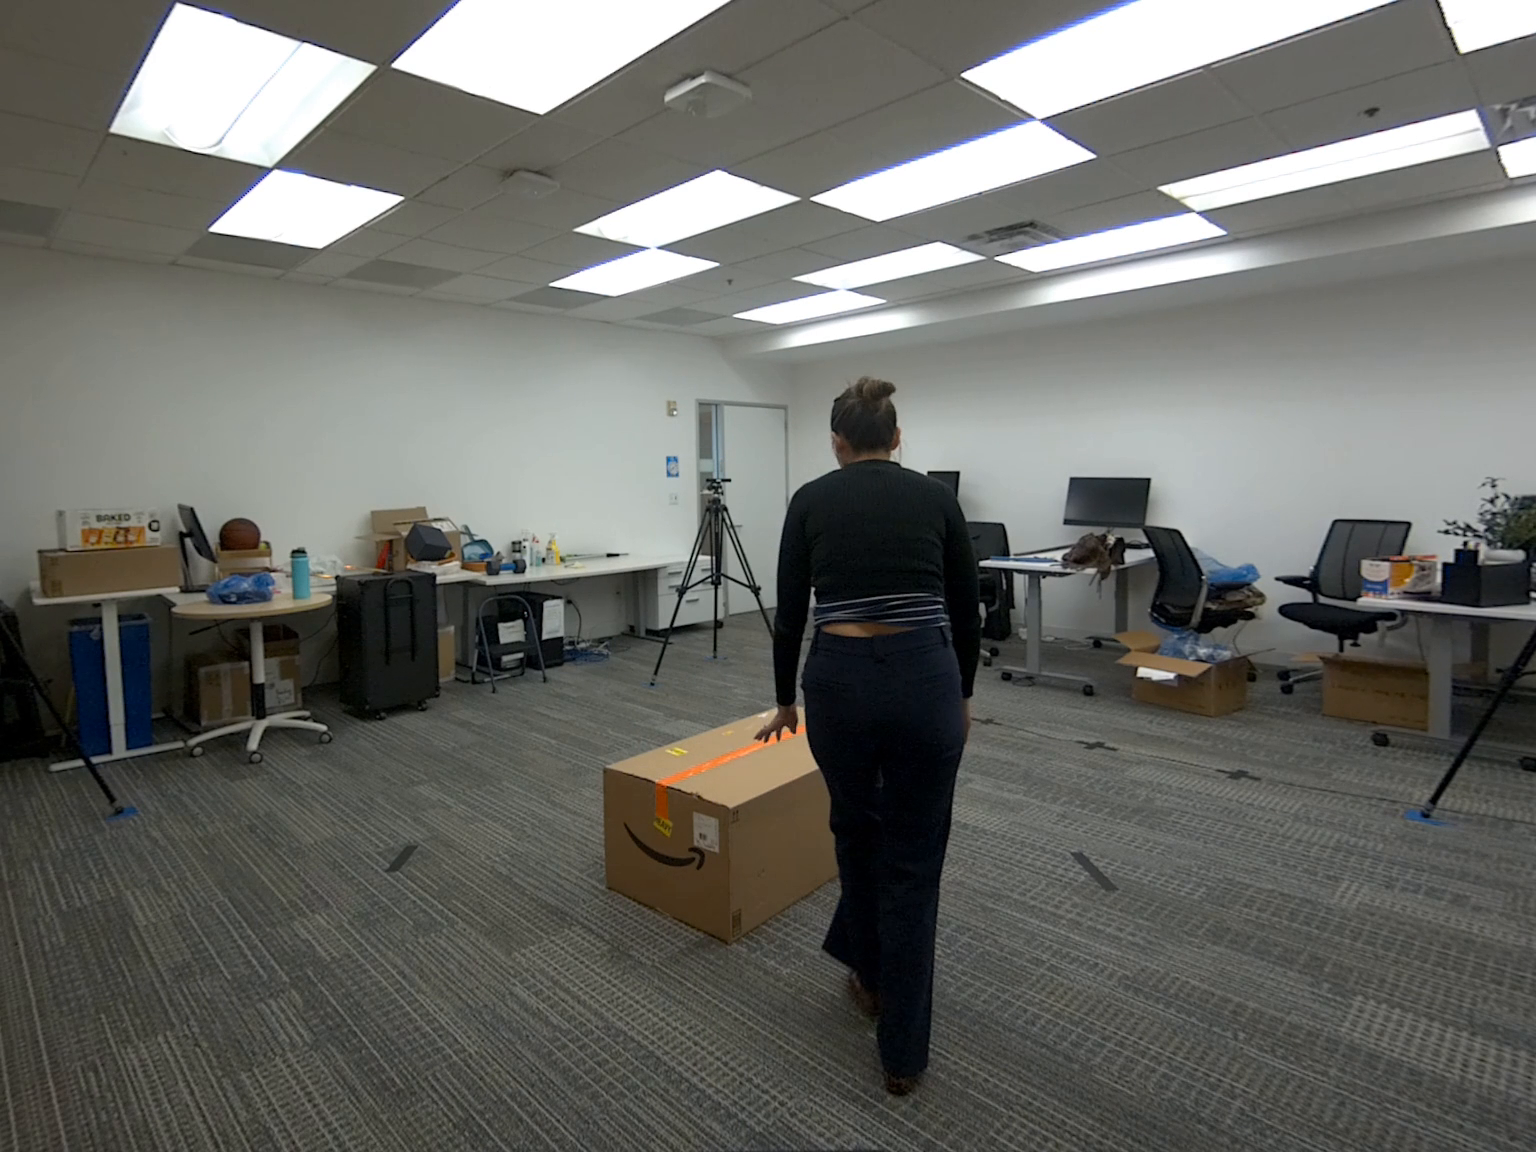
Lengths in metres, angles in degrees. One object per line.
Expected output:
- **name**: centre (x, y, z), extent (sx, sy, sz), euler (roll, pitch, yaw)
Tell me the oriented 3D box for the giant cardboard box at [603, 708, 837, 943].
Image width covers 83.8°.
- **giant cardboard box**: centre (-0.020, 0.828, 3.118), extent (0.595, 0.424, 1.000), euler (5, 8, 39)
